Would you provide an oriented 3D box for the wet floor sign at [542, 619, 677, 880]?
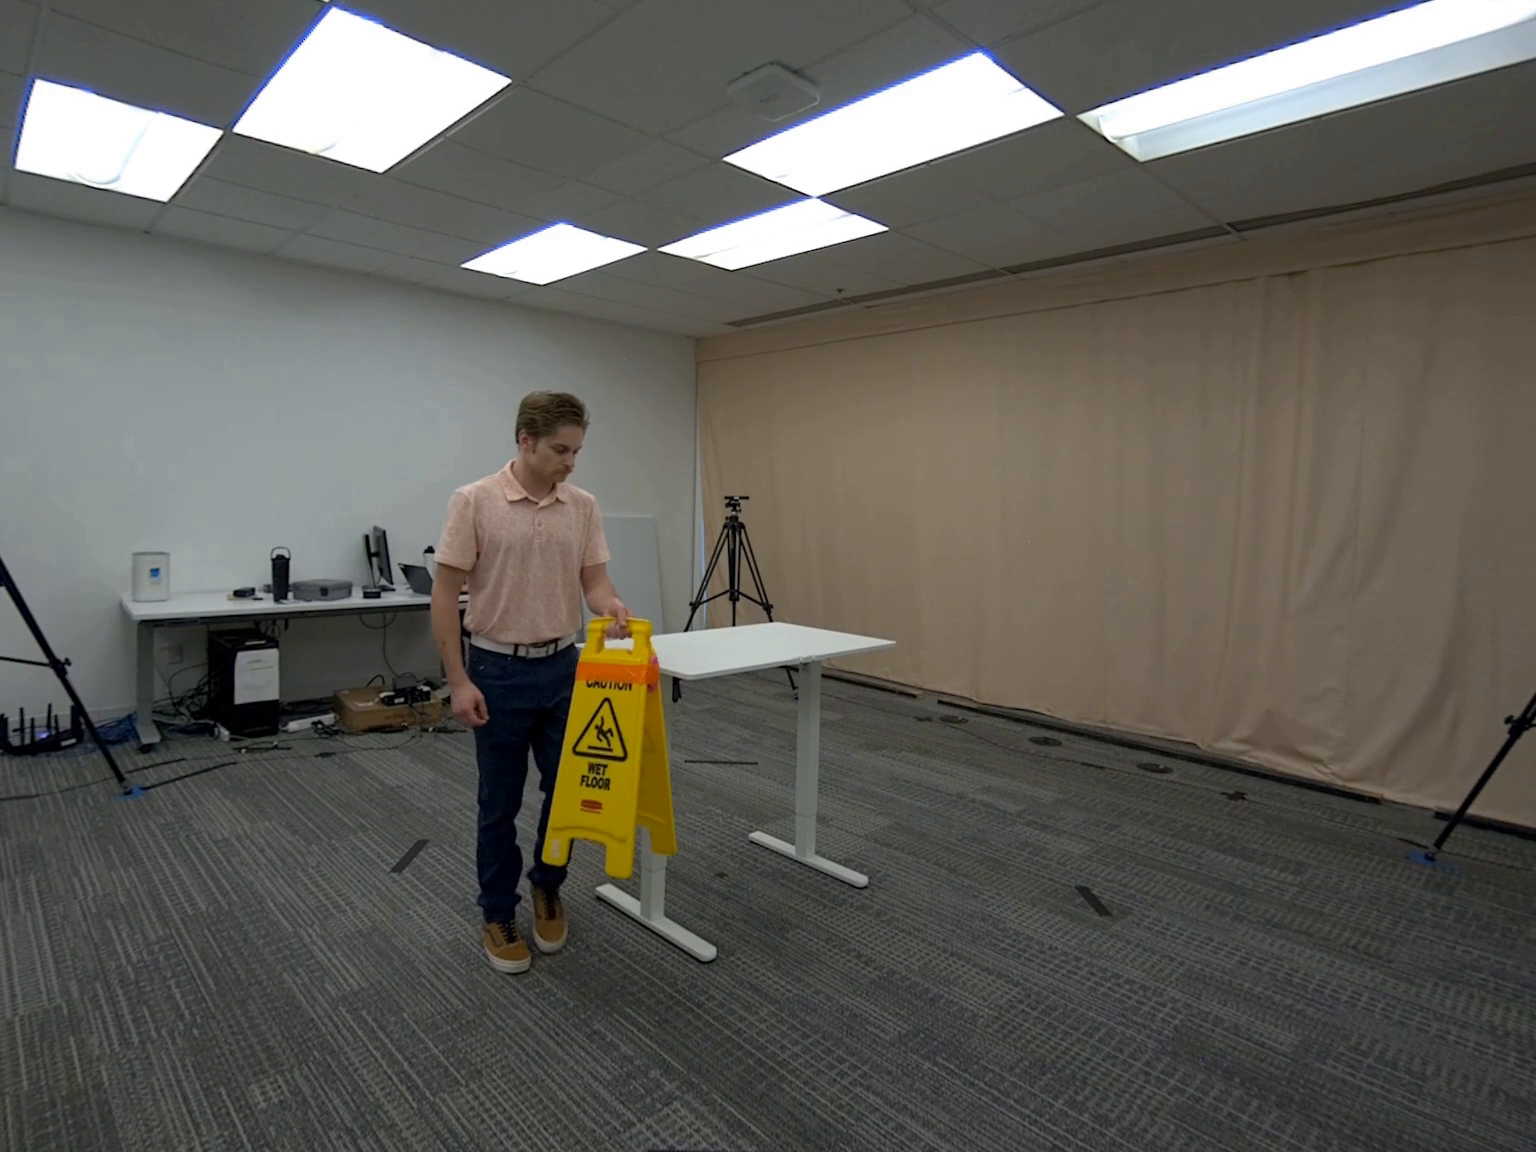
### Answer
[{"bbox_3d":[-0.422,0.452,2.301,0.287,0.648,0.284,-2,-5,22],"label":"wet floor sign"}]
